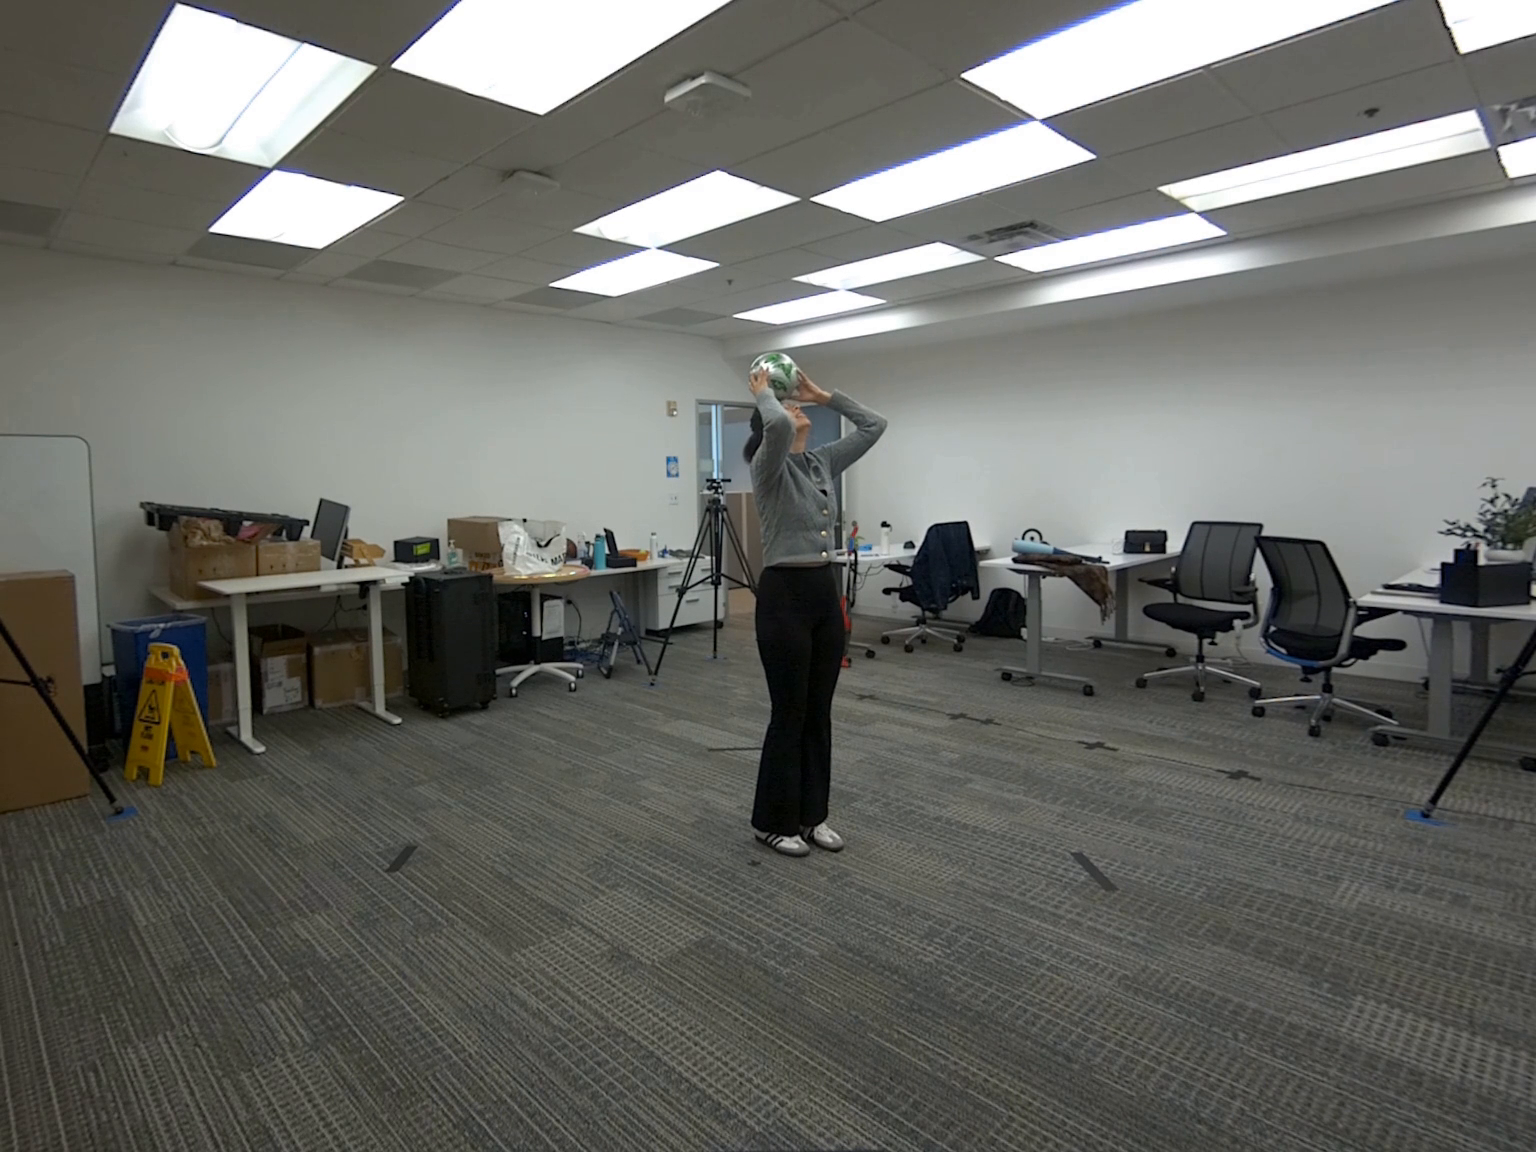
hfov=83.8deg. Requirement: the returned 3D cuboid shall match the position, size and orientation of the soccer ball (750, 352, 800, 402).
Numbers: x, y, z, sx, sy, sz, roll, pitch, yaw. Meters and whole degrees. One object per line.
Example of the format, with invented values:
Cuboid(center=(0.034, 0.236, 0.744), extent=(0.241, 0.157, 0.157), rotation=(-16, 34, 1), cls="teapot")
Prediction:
Cuboid(center=(0.028, -0.751, 3.233), extent=(0.187, 0.187, 0.188), rotation=(-1, 5, -2), cls="soccer ball")
